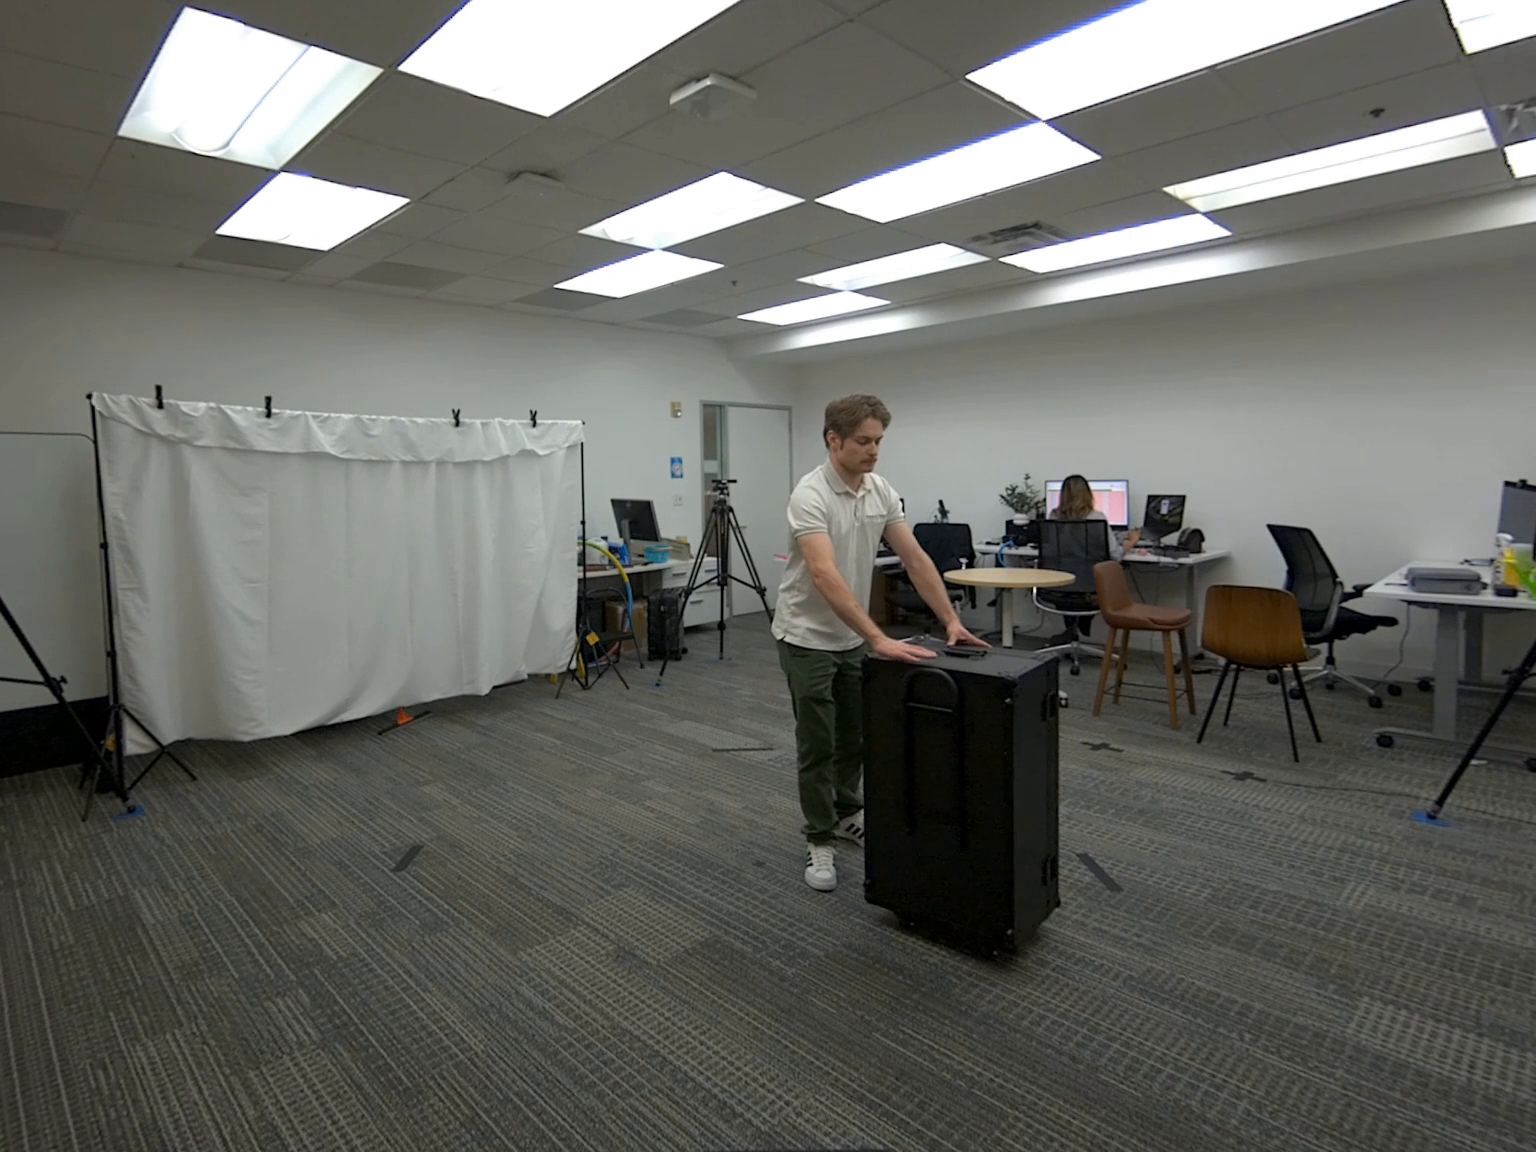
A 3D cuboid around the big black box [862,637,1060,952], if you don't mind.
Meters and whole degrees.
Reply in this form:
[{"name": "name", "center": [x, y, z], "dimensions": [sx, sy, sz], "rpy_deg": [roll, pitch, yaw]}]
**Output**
[{"name": "big black box", "center": [0.600, 0.668, 2.613], "dimensions": [0.539, 0.865, 0.375], "rpy_deg": [1, 5, 38]}]
